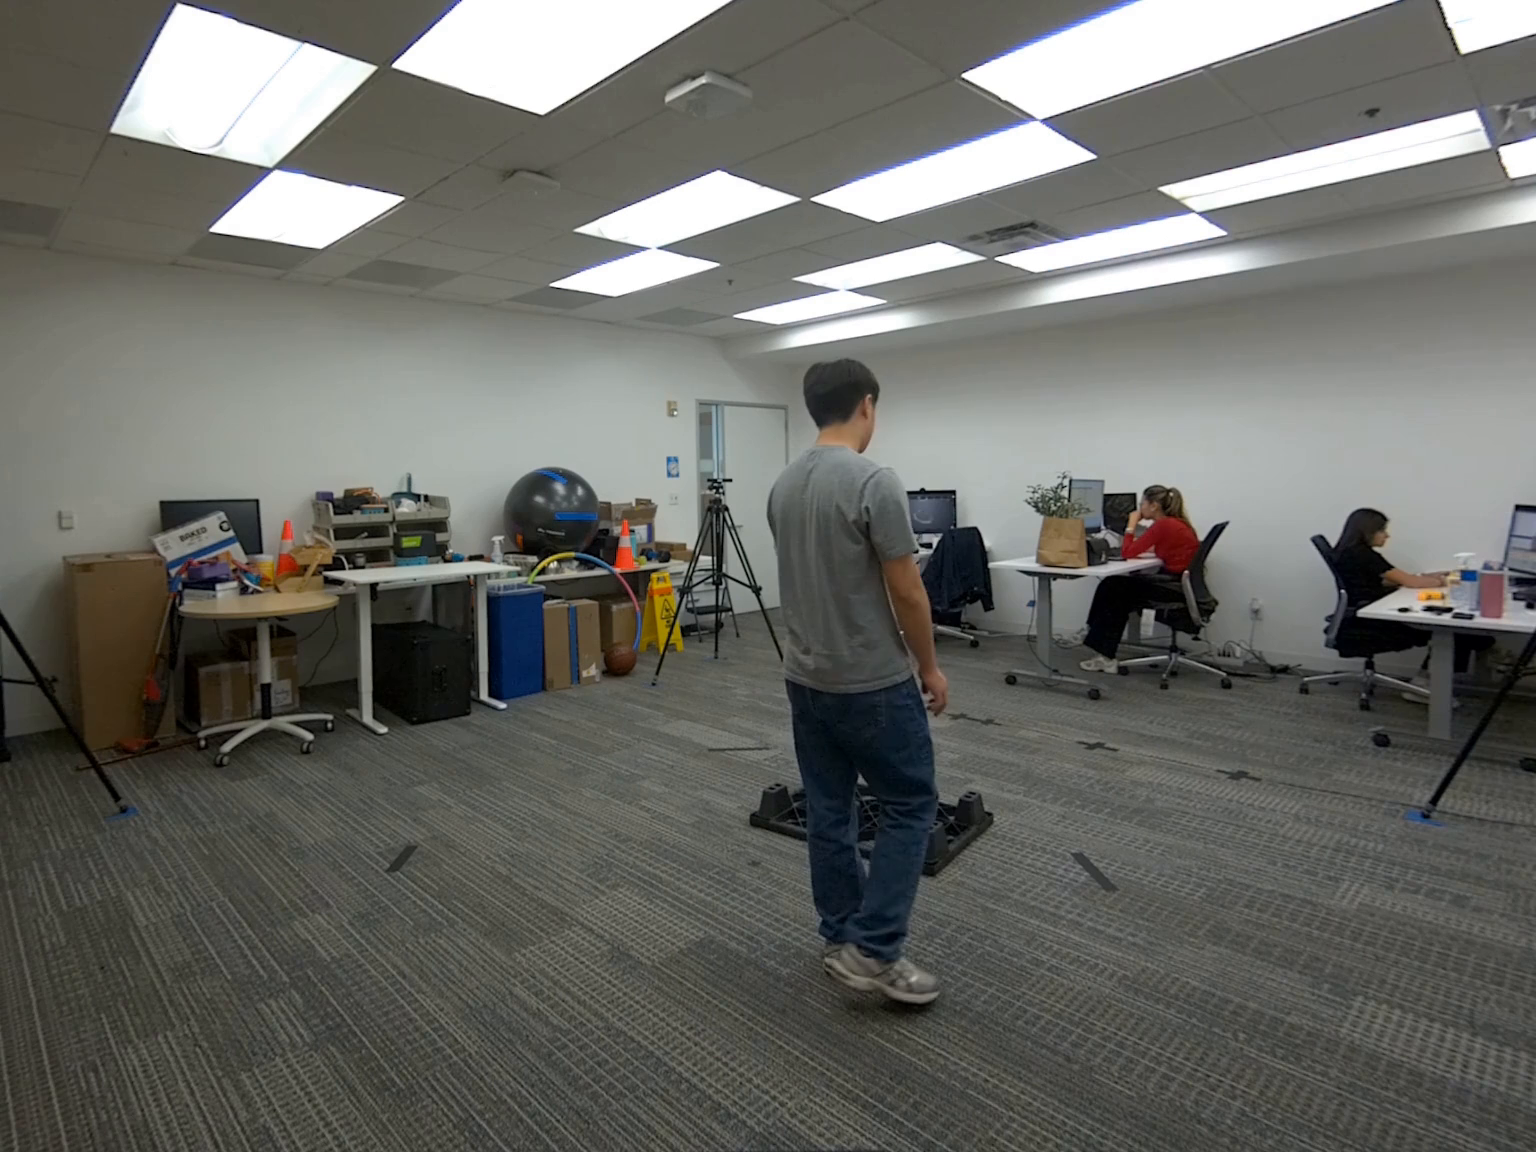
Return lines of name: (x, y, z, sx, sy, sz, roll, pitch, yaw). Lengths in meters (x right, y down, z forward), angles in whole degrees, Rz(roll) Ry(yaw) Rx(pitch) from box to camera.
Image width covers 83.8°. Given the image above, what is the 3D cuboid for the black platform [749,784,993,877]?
black platform: (0.423, 0.934, 3.442, 0.829, 0.142, 0.590, 4, 8, 36)
